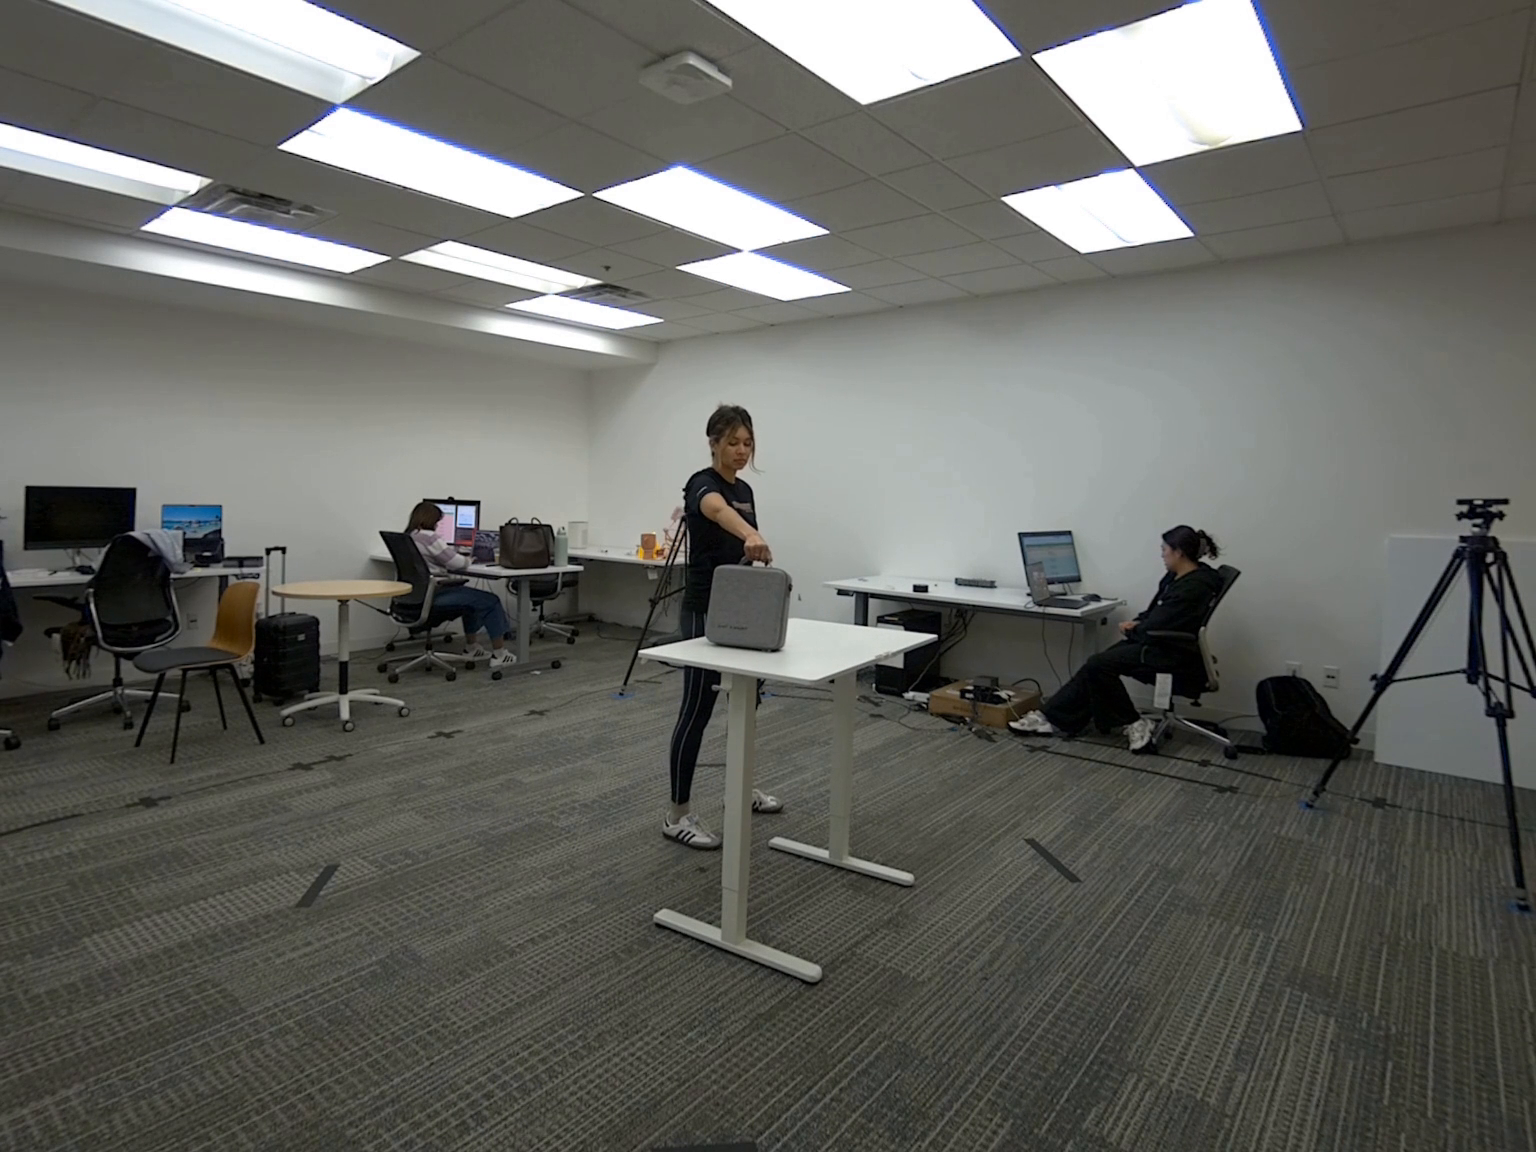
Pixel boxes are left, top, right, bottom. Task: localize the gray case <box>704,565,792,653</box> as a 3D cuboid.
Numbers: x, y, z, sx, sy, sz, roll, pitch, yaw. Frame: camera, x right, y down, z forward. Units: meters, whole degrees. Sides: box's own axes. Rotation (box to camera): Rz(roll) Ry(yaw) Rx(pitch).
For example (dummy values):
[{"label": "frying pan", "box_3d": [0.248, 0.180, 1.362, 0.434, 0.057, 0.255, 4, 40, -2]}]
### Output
[{"label": "gray case", "box_3d": [-0.071, 0.094, 2.730, 0.264, 0.262, 0.101, 4, -8, 25]}]
